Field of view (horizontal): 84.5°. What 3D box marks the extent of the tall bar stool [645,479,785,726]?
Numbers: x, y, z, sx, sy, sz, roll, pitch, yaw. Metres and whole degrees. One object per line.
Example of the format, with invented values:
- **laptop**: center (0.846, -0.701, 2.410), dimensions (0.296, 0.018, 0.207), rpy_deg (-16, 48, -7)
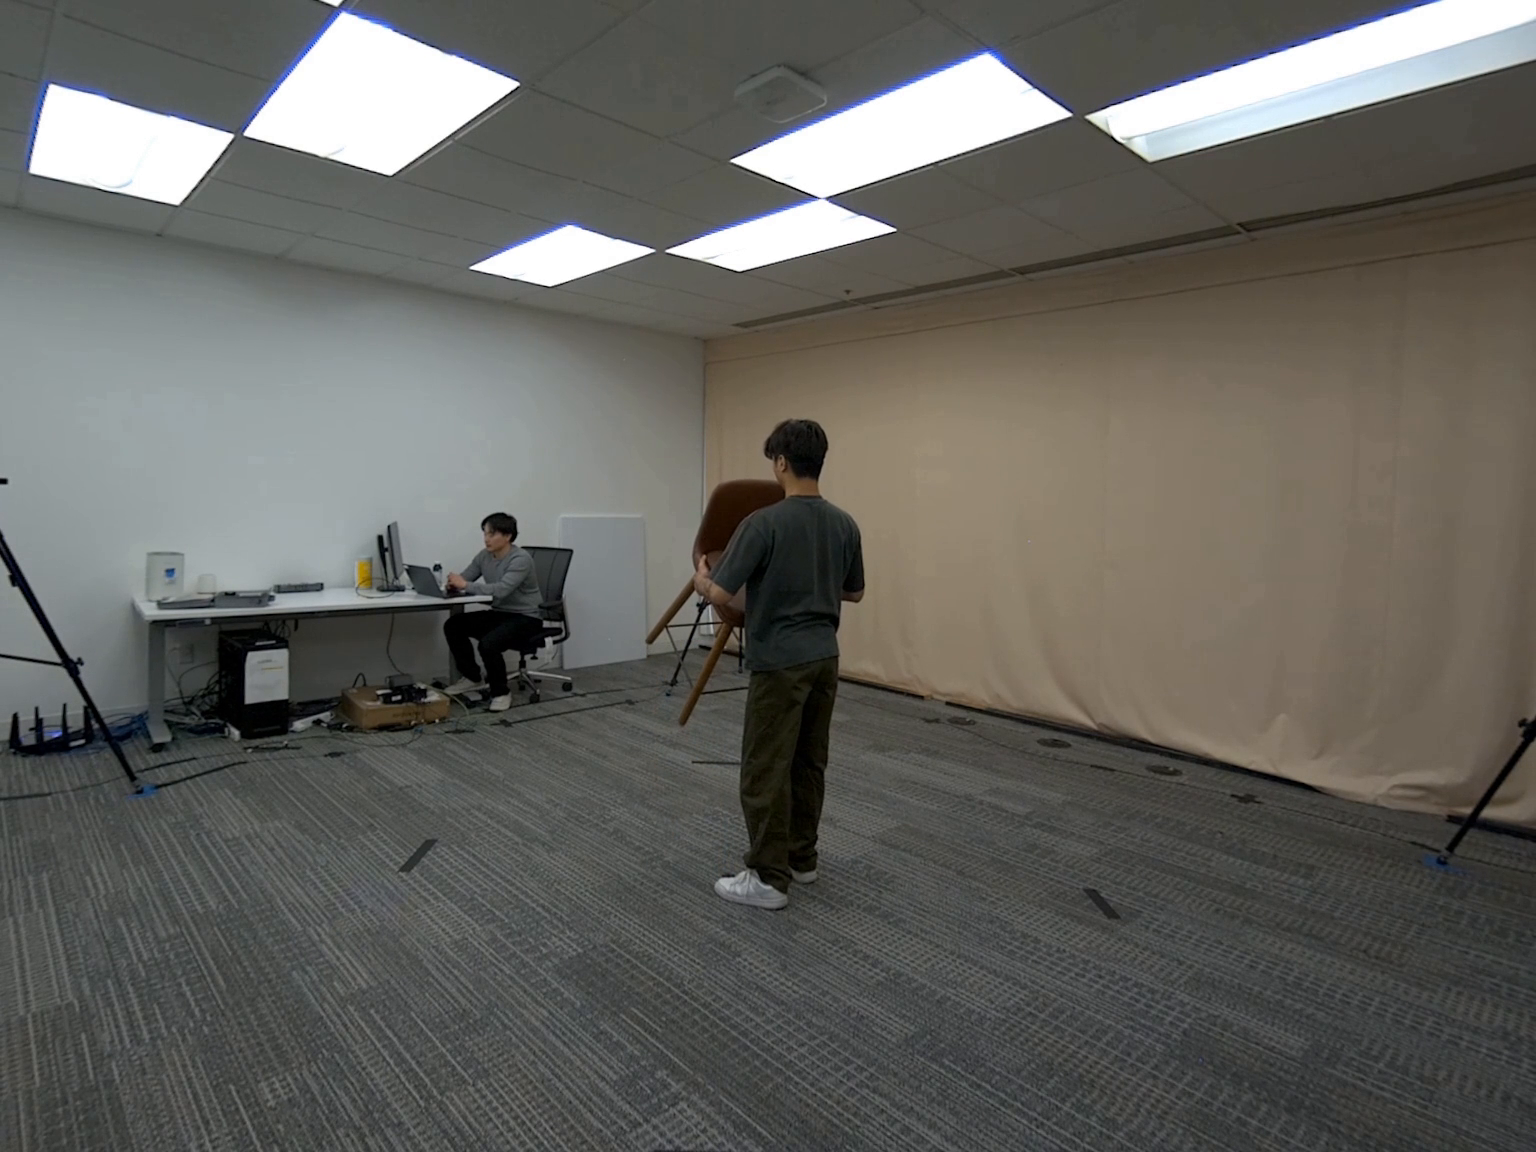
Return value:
- **tall bar stool**: center (-0.116, 0.115, 3.305), dimensions (0.446, 0.882, 0.482), rpy_deg (0, 41, -35)
